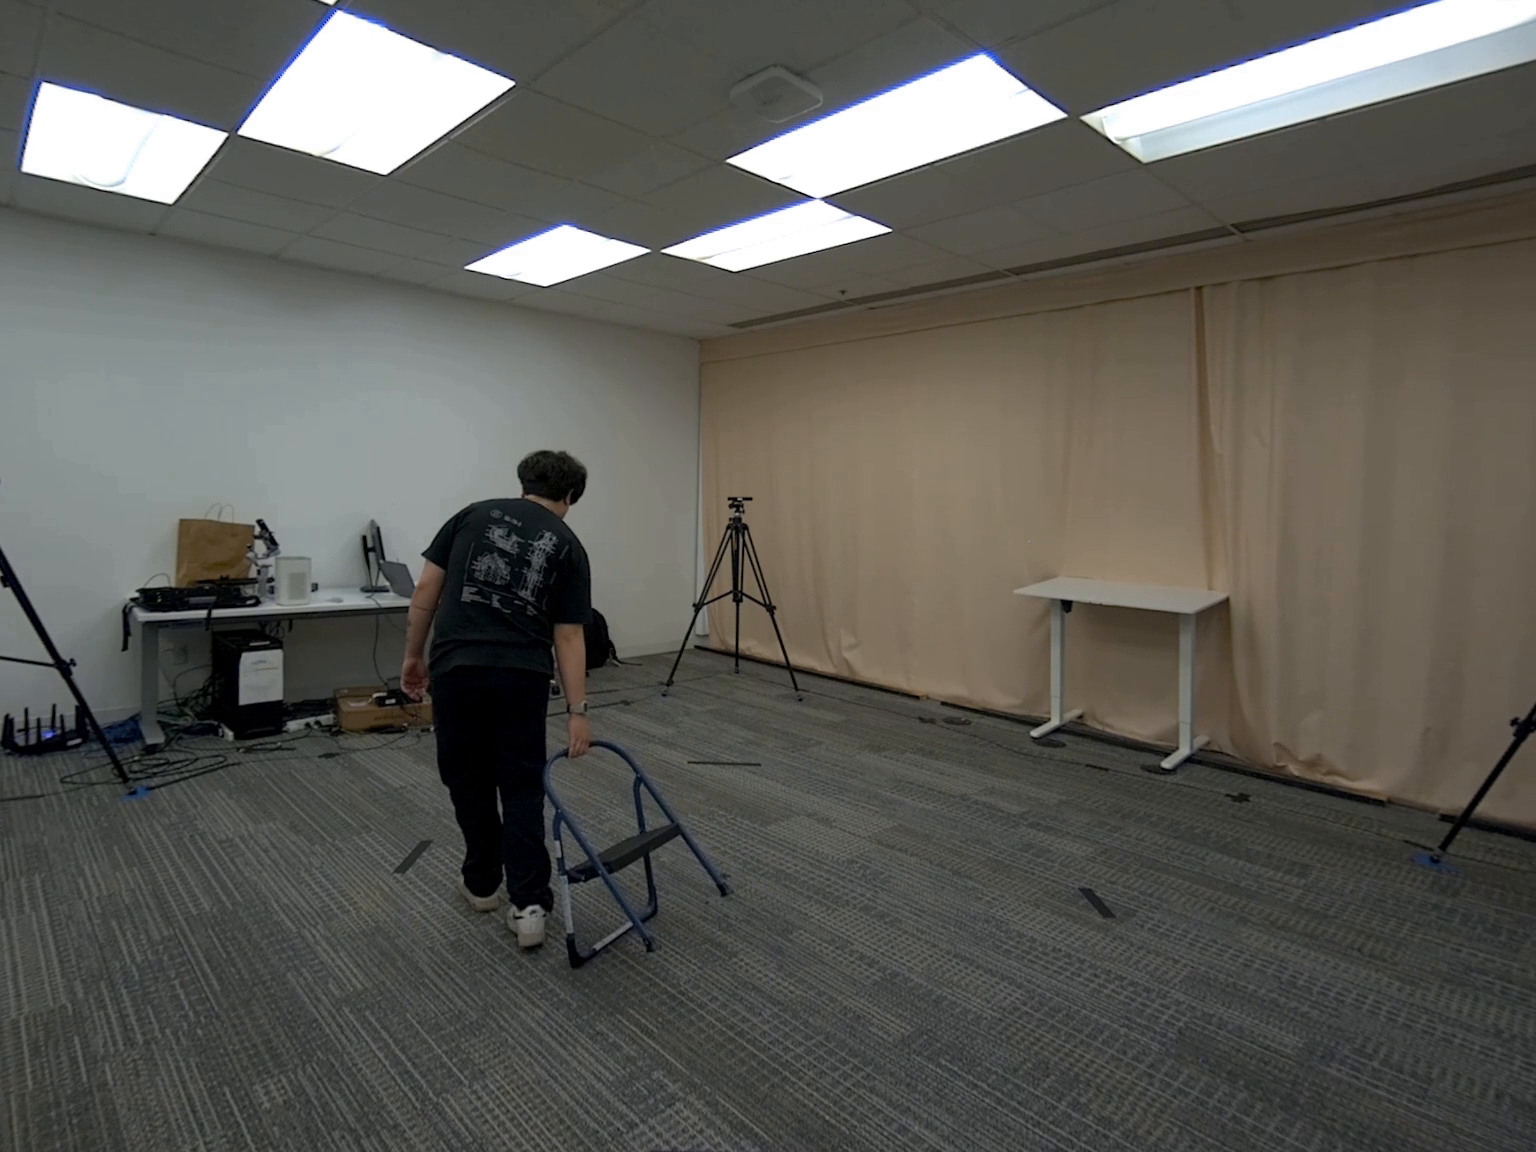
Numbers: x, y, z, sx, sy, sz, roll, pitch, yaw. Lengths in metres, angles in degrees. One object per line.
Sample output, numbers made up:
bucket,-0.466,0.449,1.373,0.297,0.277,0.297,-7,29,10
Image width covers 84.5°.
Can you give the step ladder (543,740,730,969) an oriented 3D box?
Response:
step ladder,-0.461,0.805,2.621,0.352,0.612,0.422,-27,-12,28
